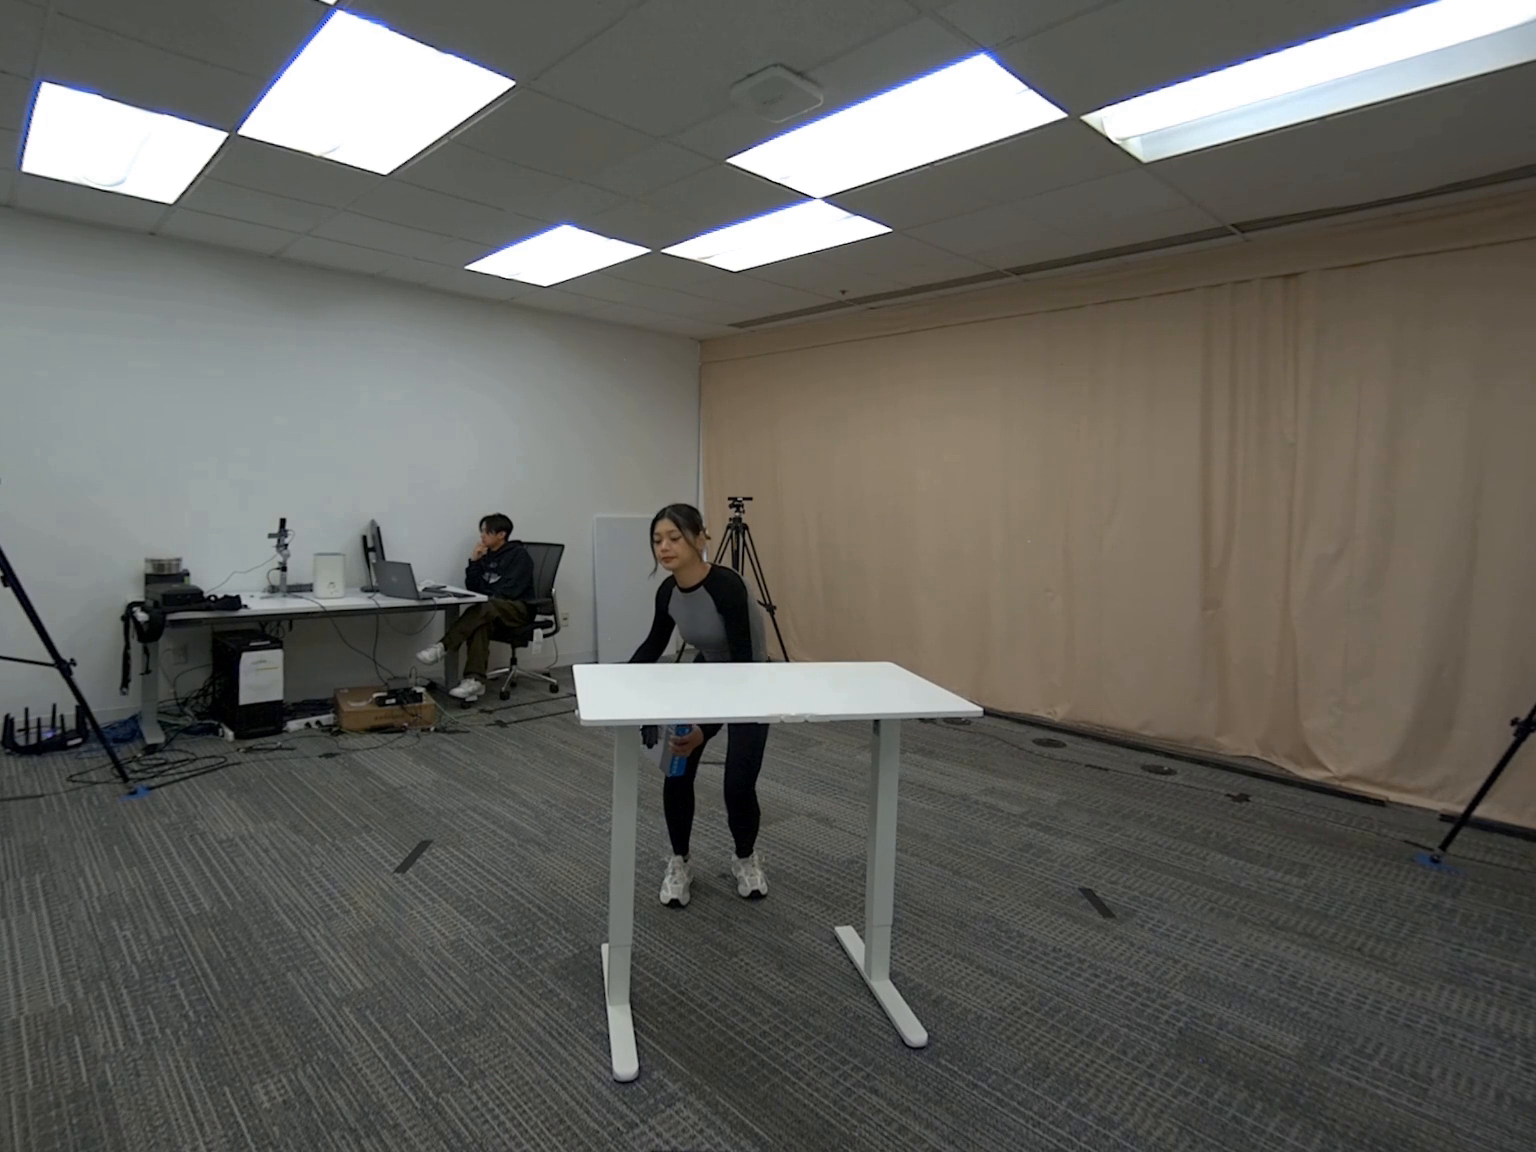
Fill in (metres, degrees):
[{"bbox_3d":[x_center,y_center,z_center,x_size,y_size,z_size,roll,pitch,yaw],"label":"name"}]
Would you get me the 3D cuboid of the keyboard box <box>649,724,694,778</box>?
[{"bbox_3d":[-0.410,0.486,2.754,0.058,0.175,0.450,1,16,-40],"label":"keyboard box"}]
